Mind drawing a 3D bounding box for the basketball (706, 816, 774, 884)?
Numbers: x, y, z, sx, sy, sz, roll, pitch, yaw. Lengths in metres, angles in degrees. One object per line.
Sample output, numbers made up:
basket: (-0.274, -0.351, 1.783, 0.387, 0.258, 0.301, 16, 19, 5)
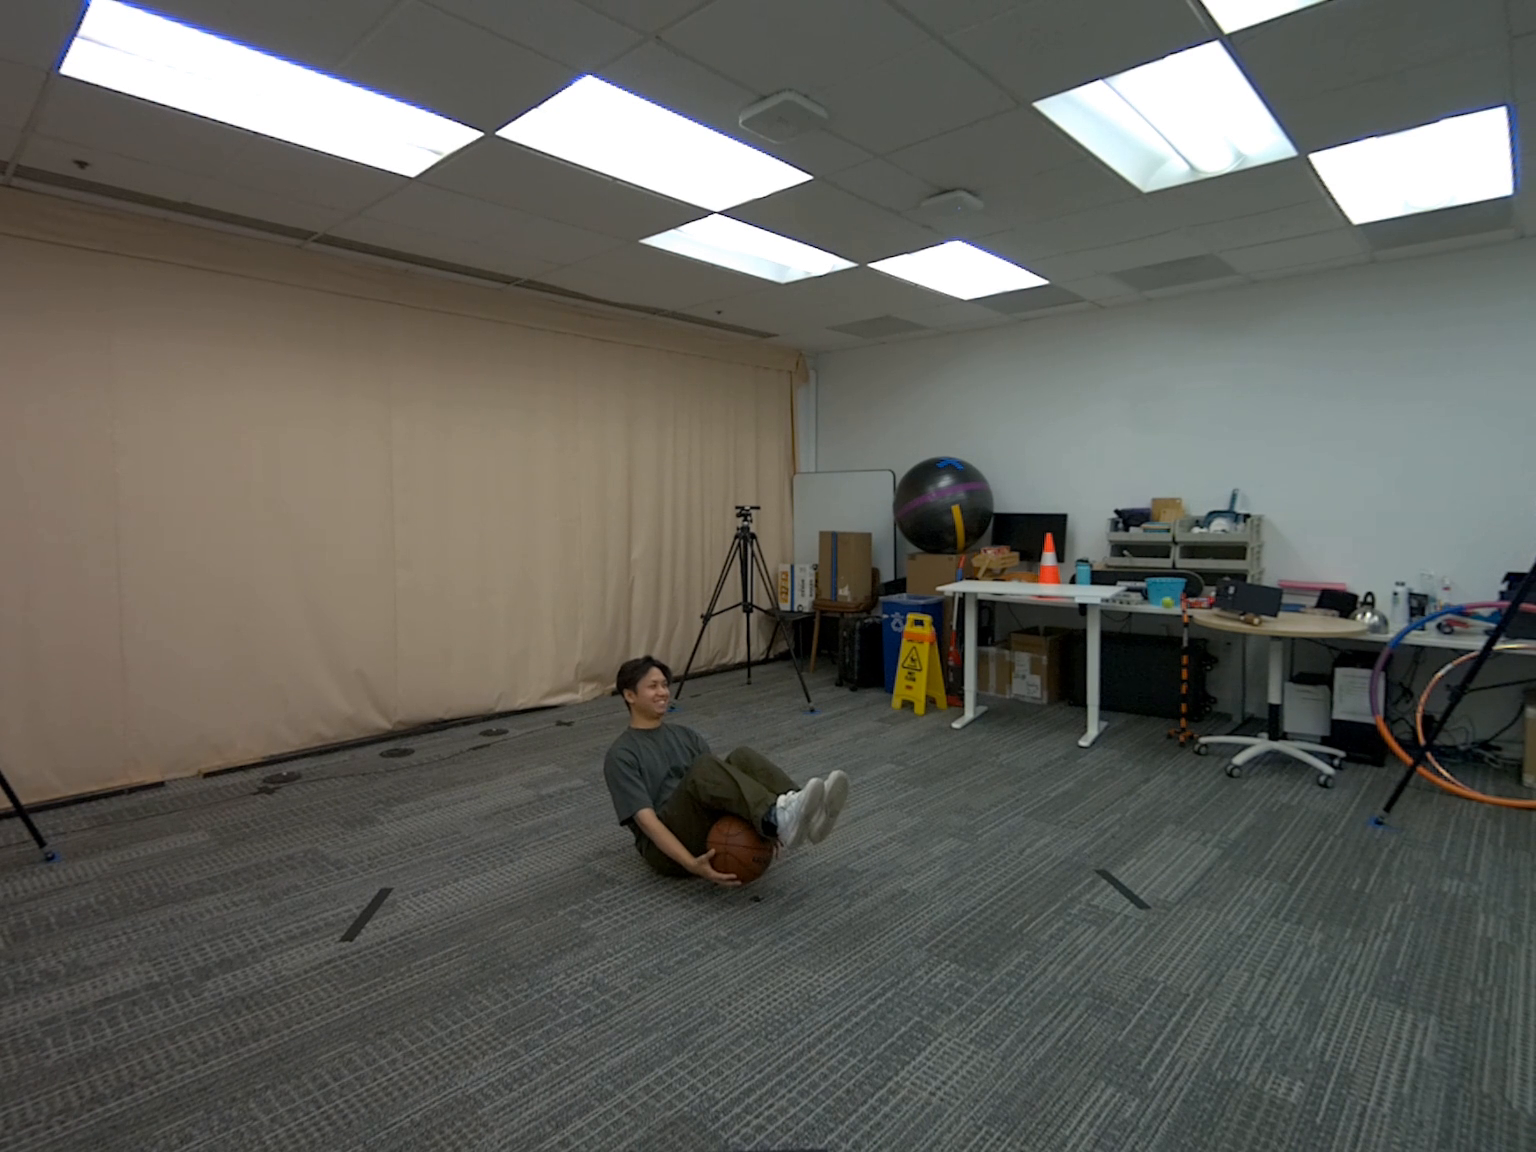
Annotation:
basketball: (-0.104, 0.947, 2.986, 0.236, 0.235, 0.237, 0, 4, -2)
